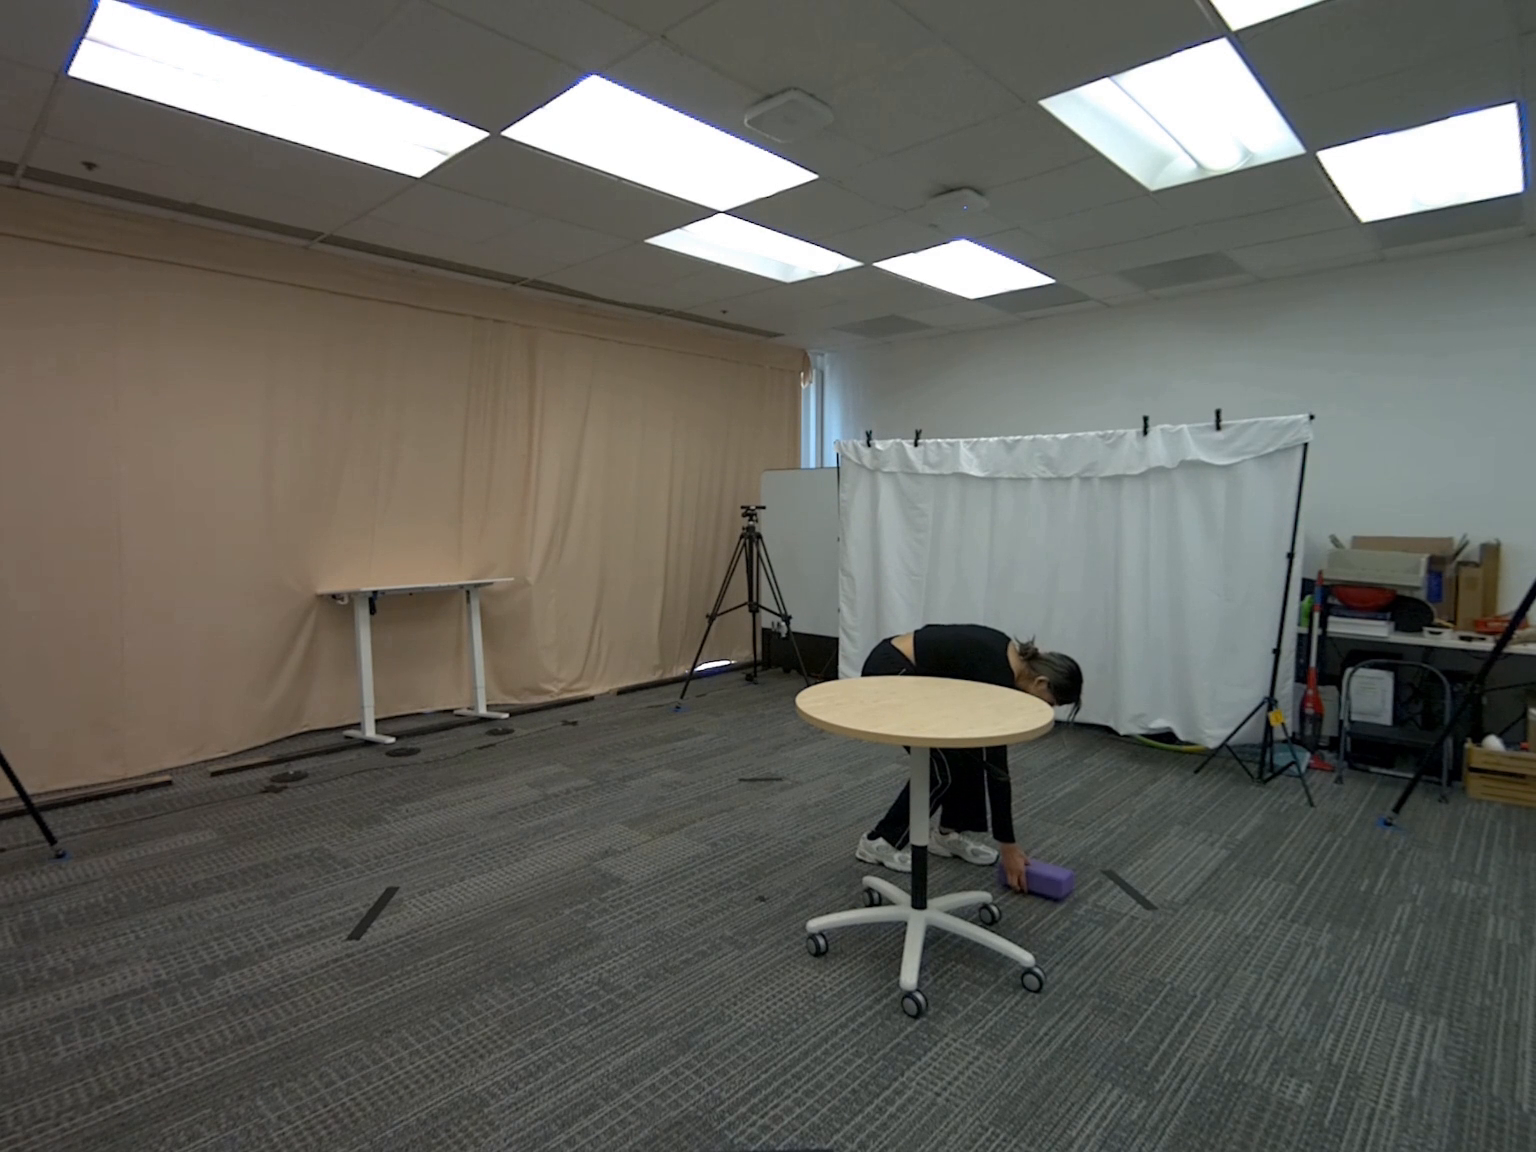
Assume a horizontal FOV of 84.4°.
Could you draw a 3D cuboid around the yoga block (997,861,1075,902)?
[{"bbox_3d":[0.984,1.090,3.058,0.237,0.076,0.144,5,0,37],"label":"yoga block"}]
